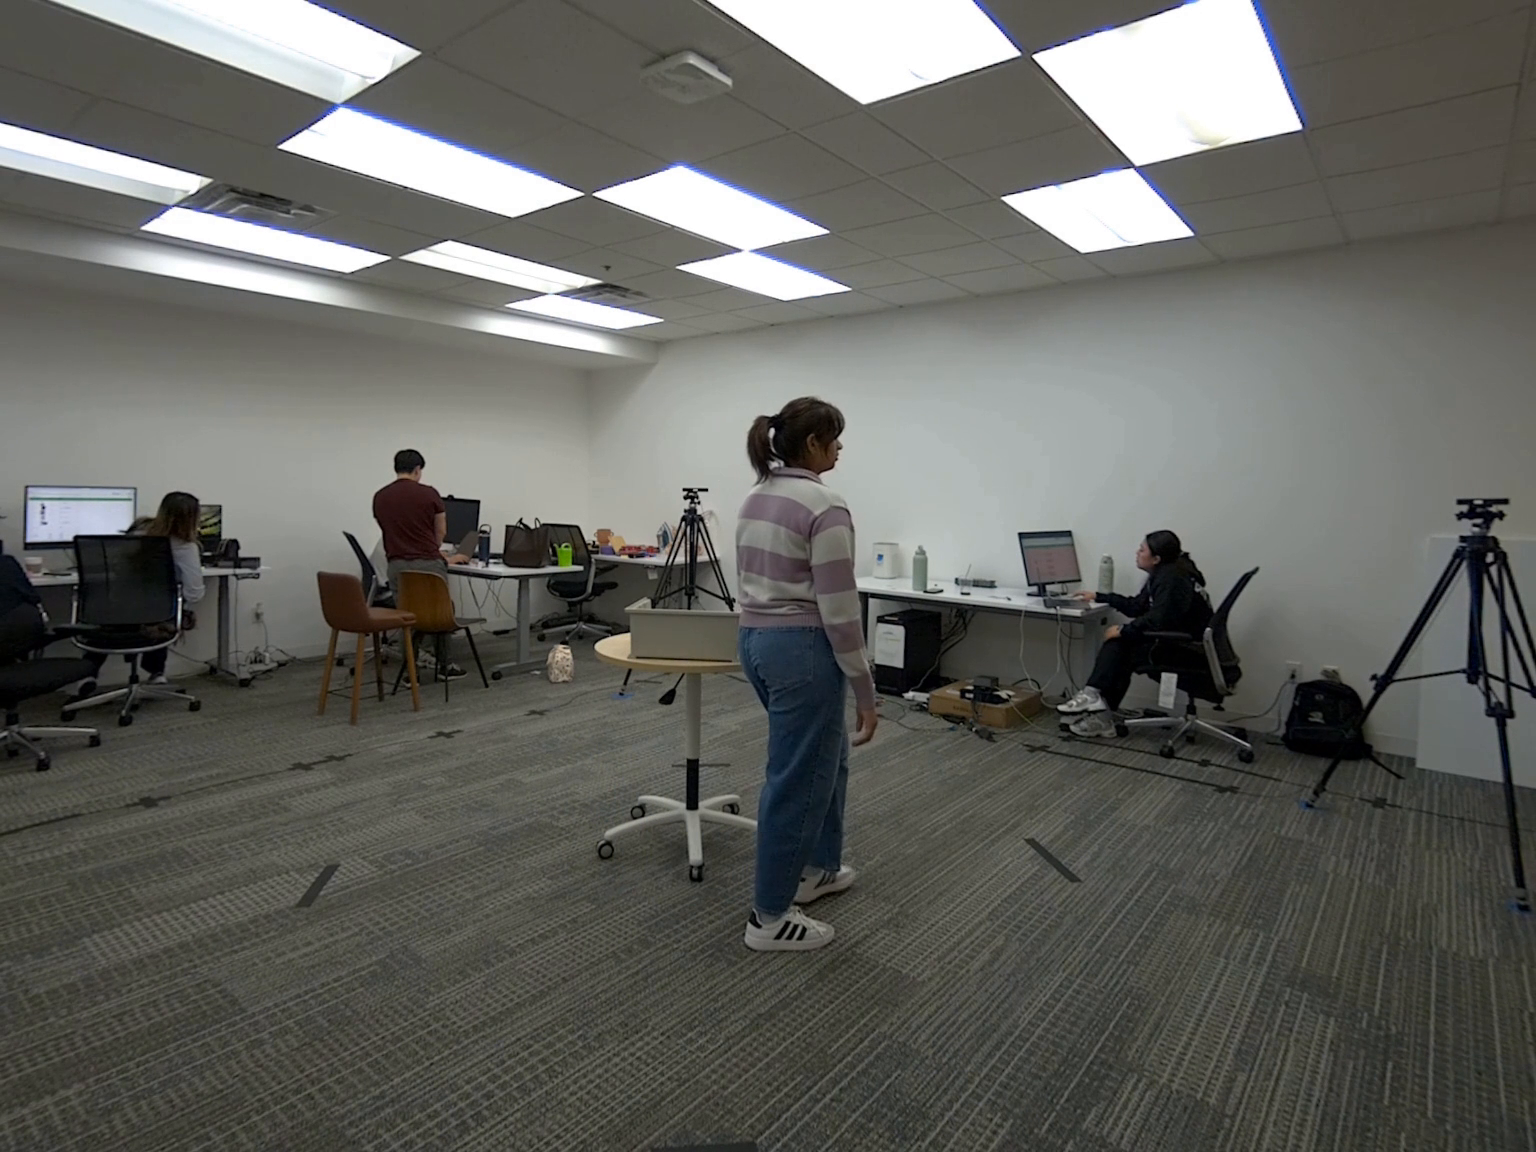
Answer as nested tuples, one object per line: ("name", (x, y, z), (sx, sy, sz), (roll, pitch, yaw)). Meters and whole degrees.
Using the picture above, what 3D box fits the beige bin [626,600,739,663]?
("beige bin", (-0.295, 0.190, 3.166), (0.426, 0.188, 0.376), (1, 7, 7))
